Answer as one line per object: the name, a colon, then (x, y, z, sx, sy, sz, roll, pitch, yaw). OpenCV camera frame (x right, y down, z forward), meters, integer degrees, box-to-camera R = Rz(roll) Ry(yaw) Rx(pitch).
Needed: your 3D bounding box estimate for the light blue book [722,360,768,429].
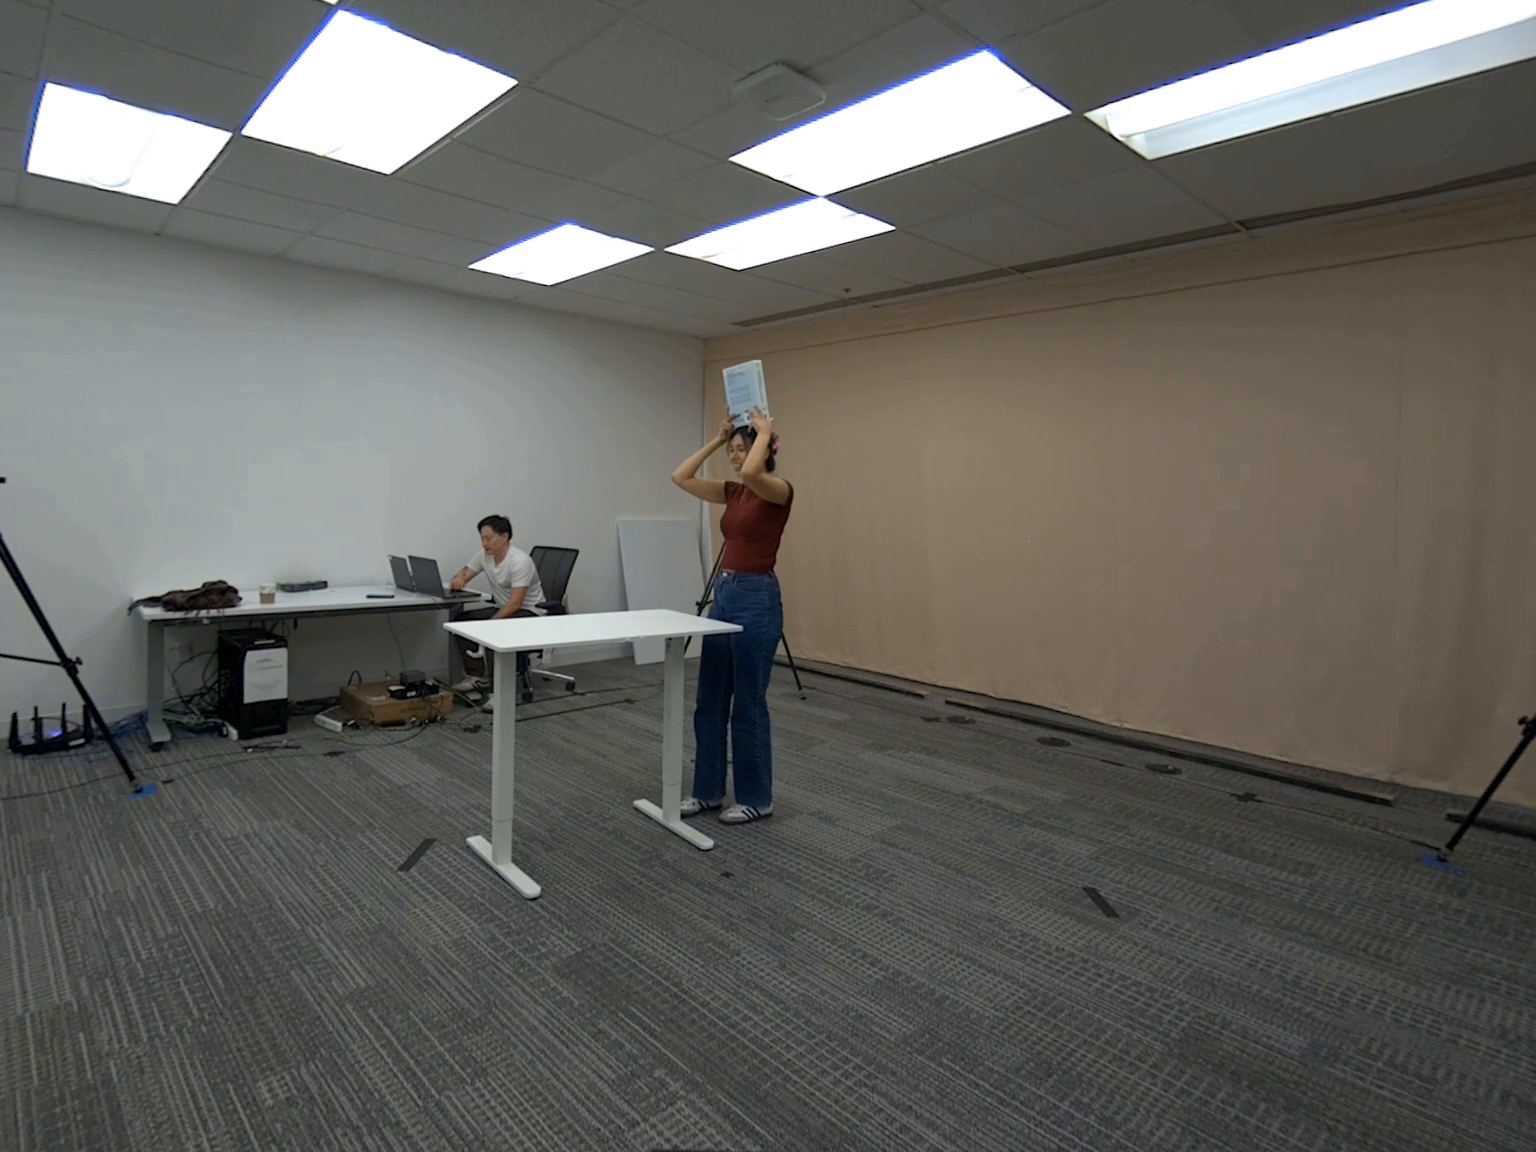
light blue book: (-0.102, -0.781, 3.633, 0.196, 0.260, 0.058, -2, 7, 44)
